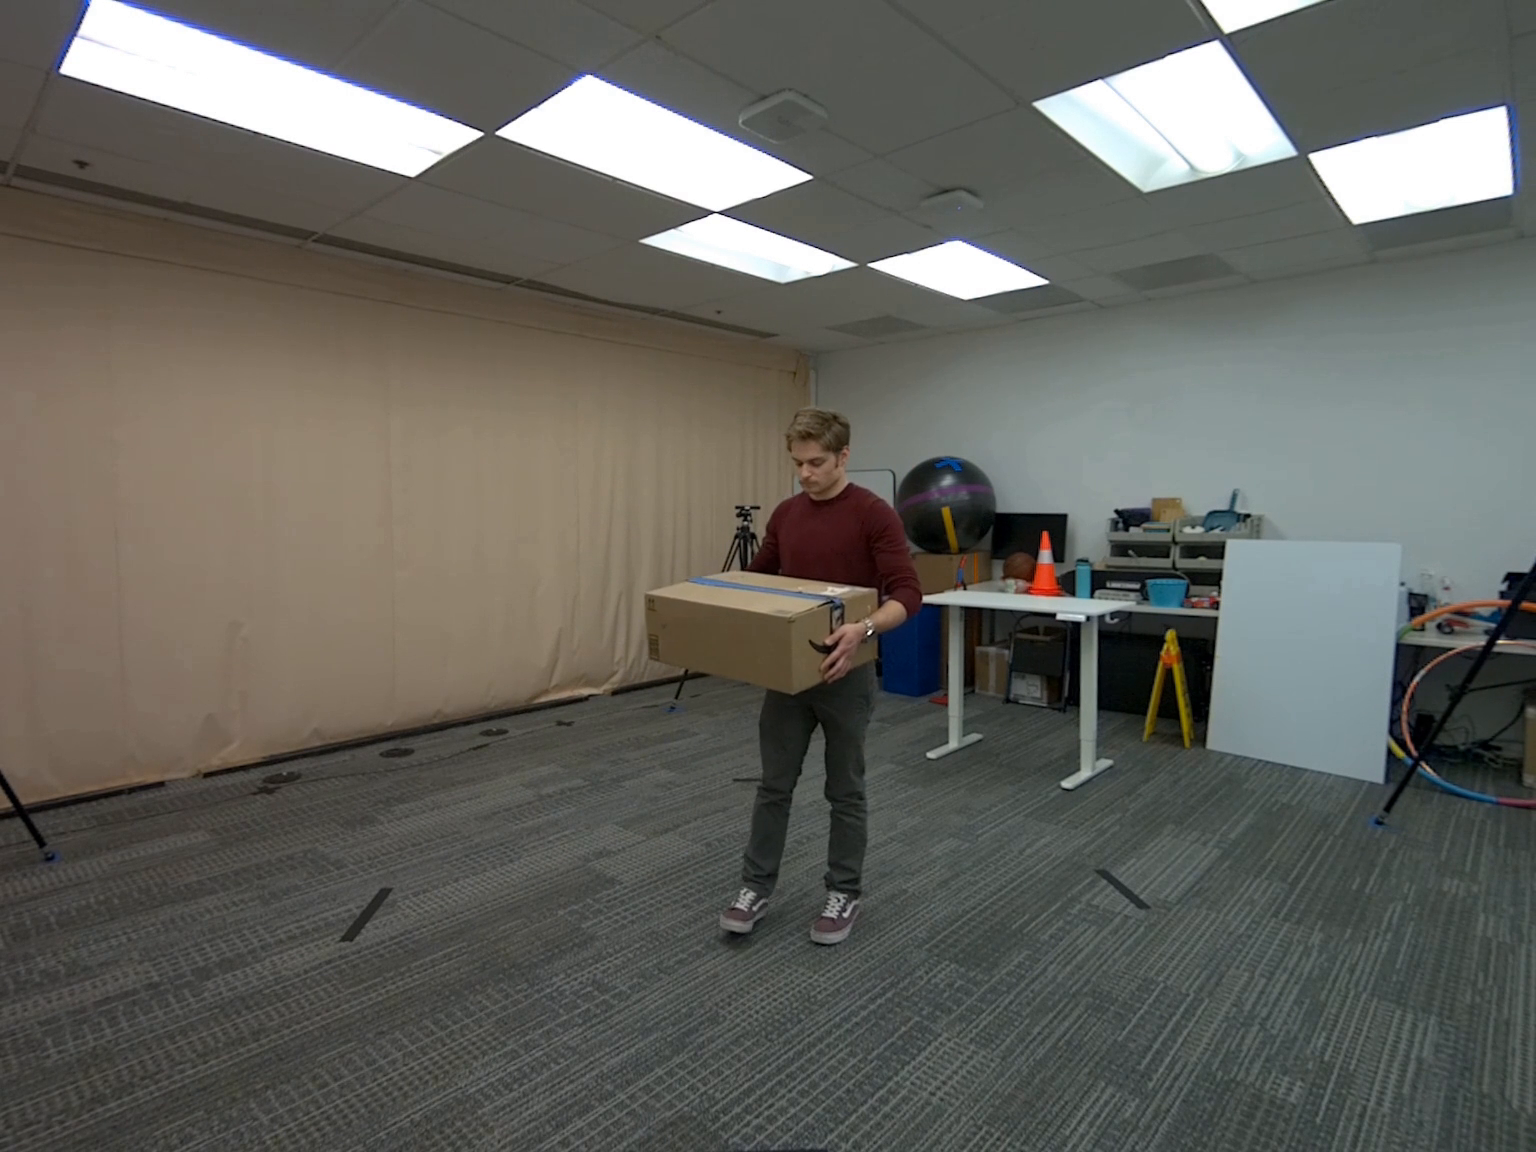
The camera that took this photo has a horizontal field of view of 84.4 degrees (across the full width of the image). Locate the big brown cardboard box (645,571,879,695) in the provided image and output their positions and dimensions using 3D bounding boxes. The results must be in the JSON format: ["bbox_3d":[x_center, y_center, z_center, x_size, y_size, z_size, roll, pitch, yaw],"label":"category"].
[{"bbox_3d":[-0.028,0.152,2.529,0.609,0.232,0.406,6,13,40],"label":"big brown cardboard box"}]
